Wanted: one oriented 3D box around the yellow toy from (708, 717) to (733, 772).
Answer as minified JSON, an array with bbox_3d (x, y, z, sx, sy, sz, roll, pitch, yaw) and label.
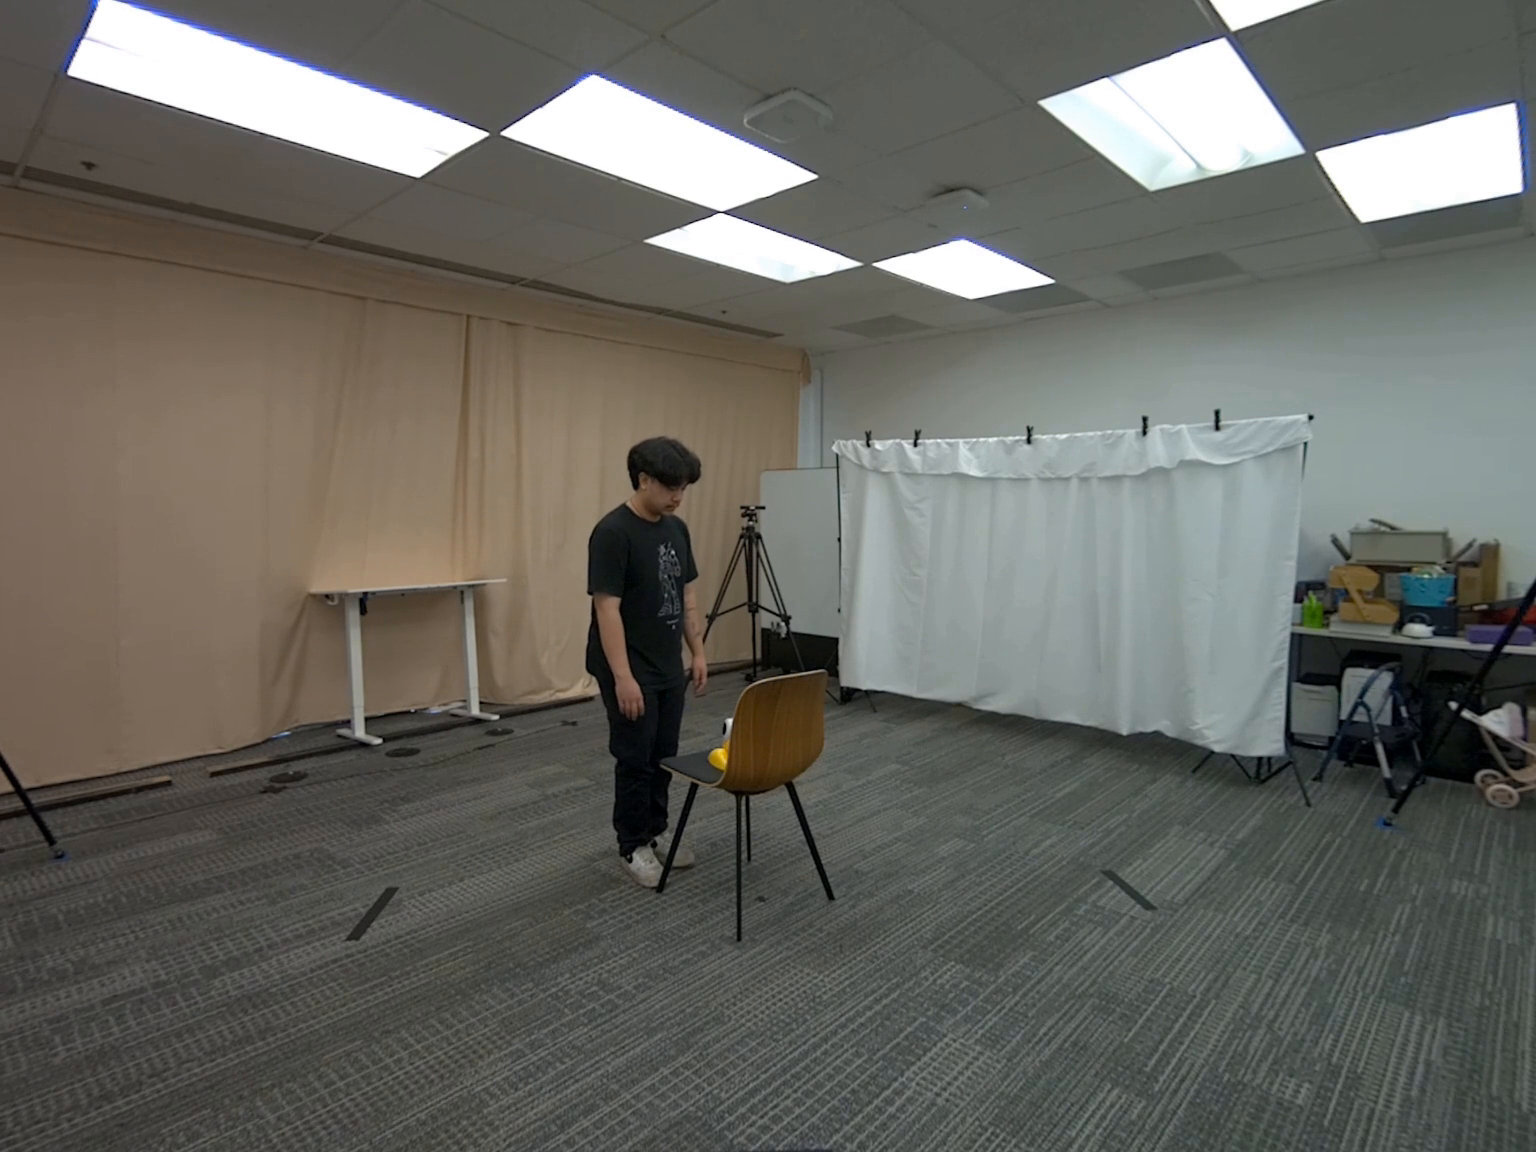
[{"bbox_3d":[-0.090,0.552,2.990,0.198,0.229,0.200,-4,10,-41],"label":"yellow toy"}]
